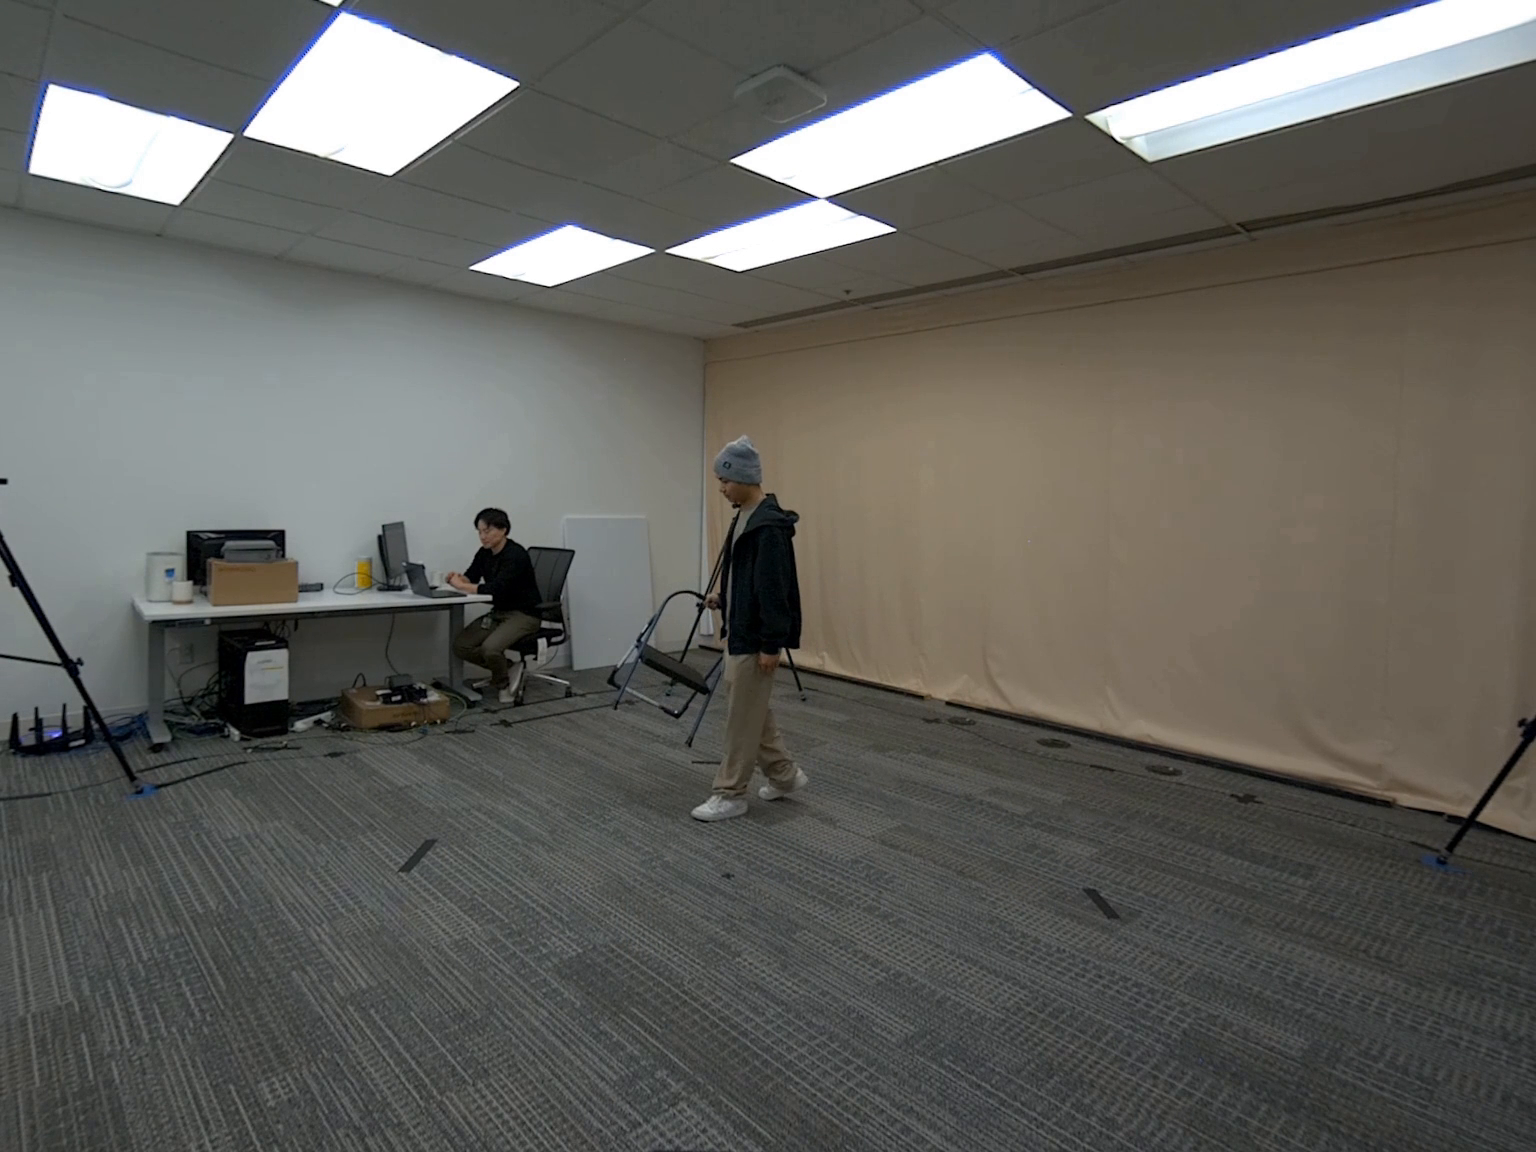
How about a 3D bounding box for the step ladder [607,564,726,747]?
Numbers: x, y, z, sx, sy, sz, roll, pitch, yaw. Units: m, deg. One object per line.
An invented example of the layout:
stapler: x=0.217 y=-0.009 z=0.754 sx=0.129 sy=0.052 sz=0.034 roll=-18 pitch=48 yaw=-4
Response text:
step ladder: x=-0.425 y=0.384 z=3.922 sx=0.422 sy=0.605 sz=0.356 roll=29 pitch=5 yaw=-20
